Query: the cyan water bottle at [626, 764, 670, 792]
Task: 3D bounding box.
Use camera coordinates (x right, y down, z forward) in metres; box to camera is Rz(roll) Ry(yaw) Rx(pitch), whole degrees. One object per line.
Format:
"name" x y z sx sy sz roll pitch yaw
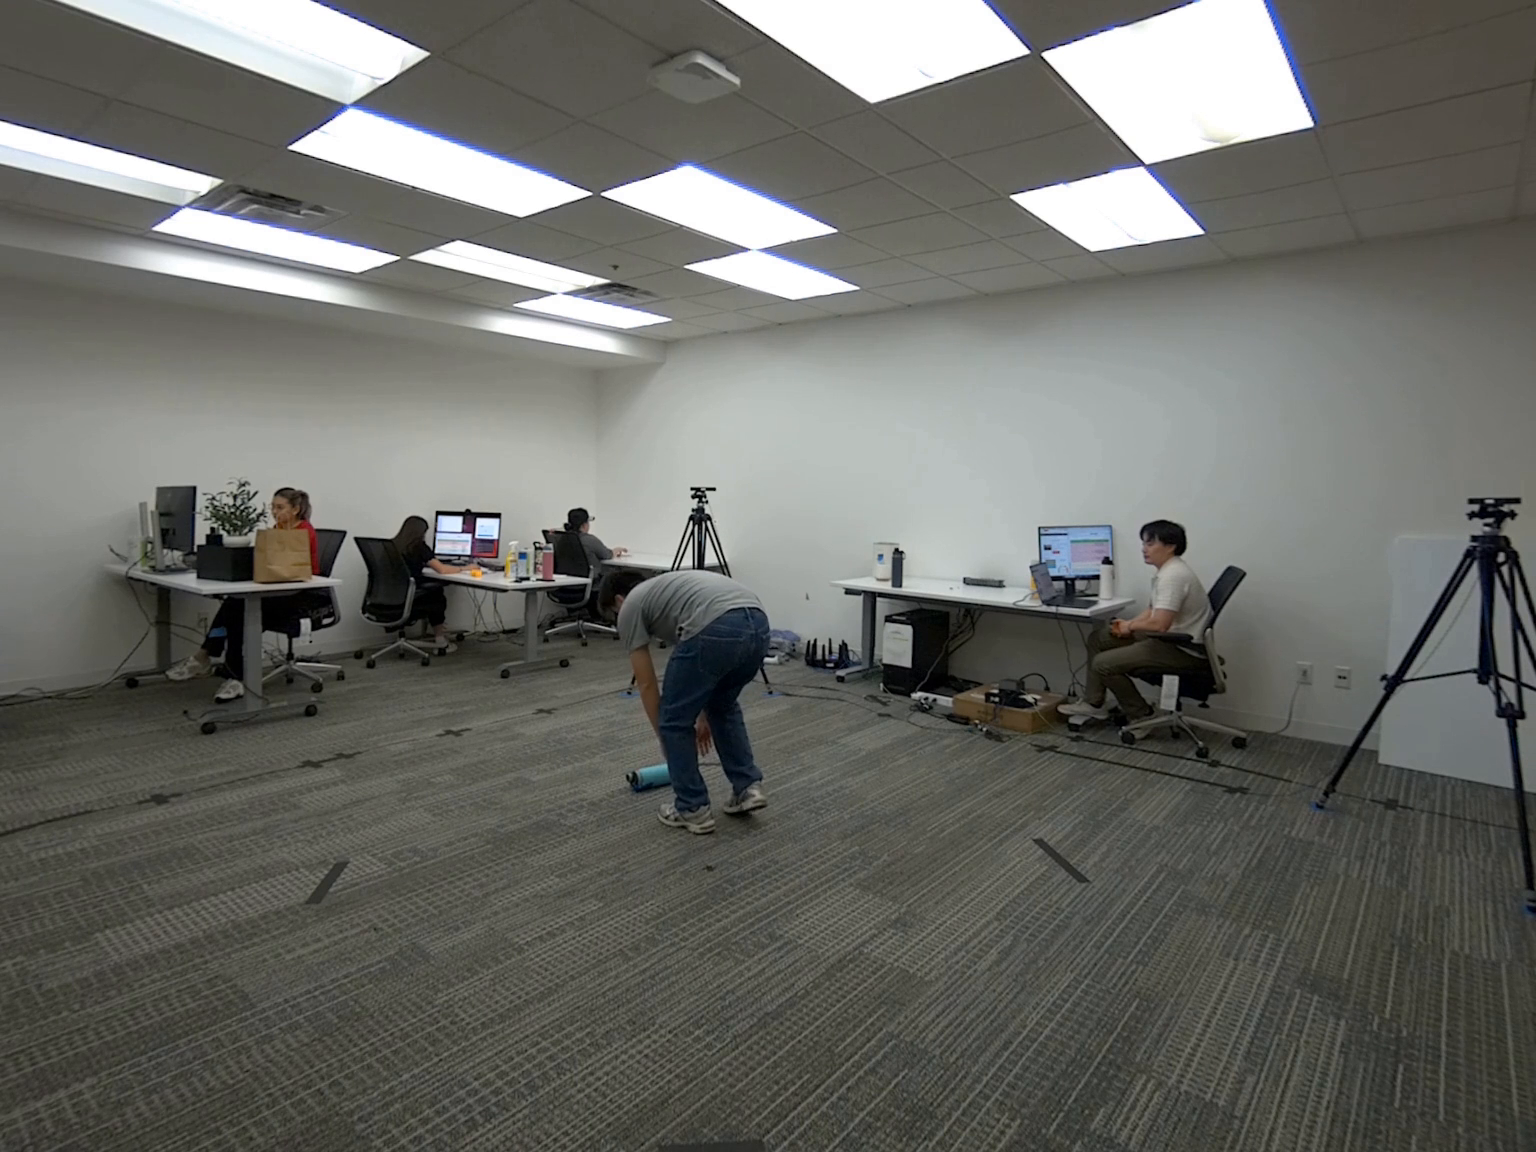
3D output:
"cyan water bottle" -0.537 0.926 3.963 0.275 0.092 0.095 -3 6 -37
